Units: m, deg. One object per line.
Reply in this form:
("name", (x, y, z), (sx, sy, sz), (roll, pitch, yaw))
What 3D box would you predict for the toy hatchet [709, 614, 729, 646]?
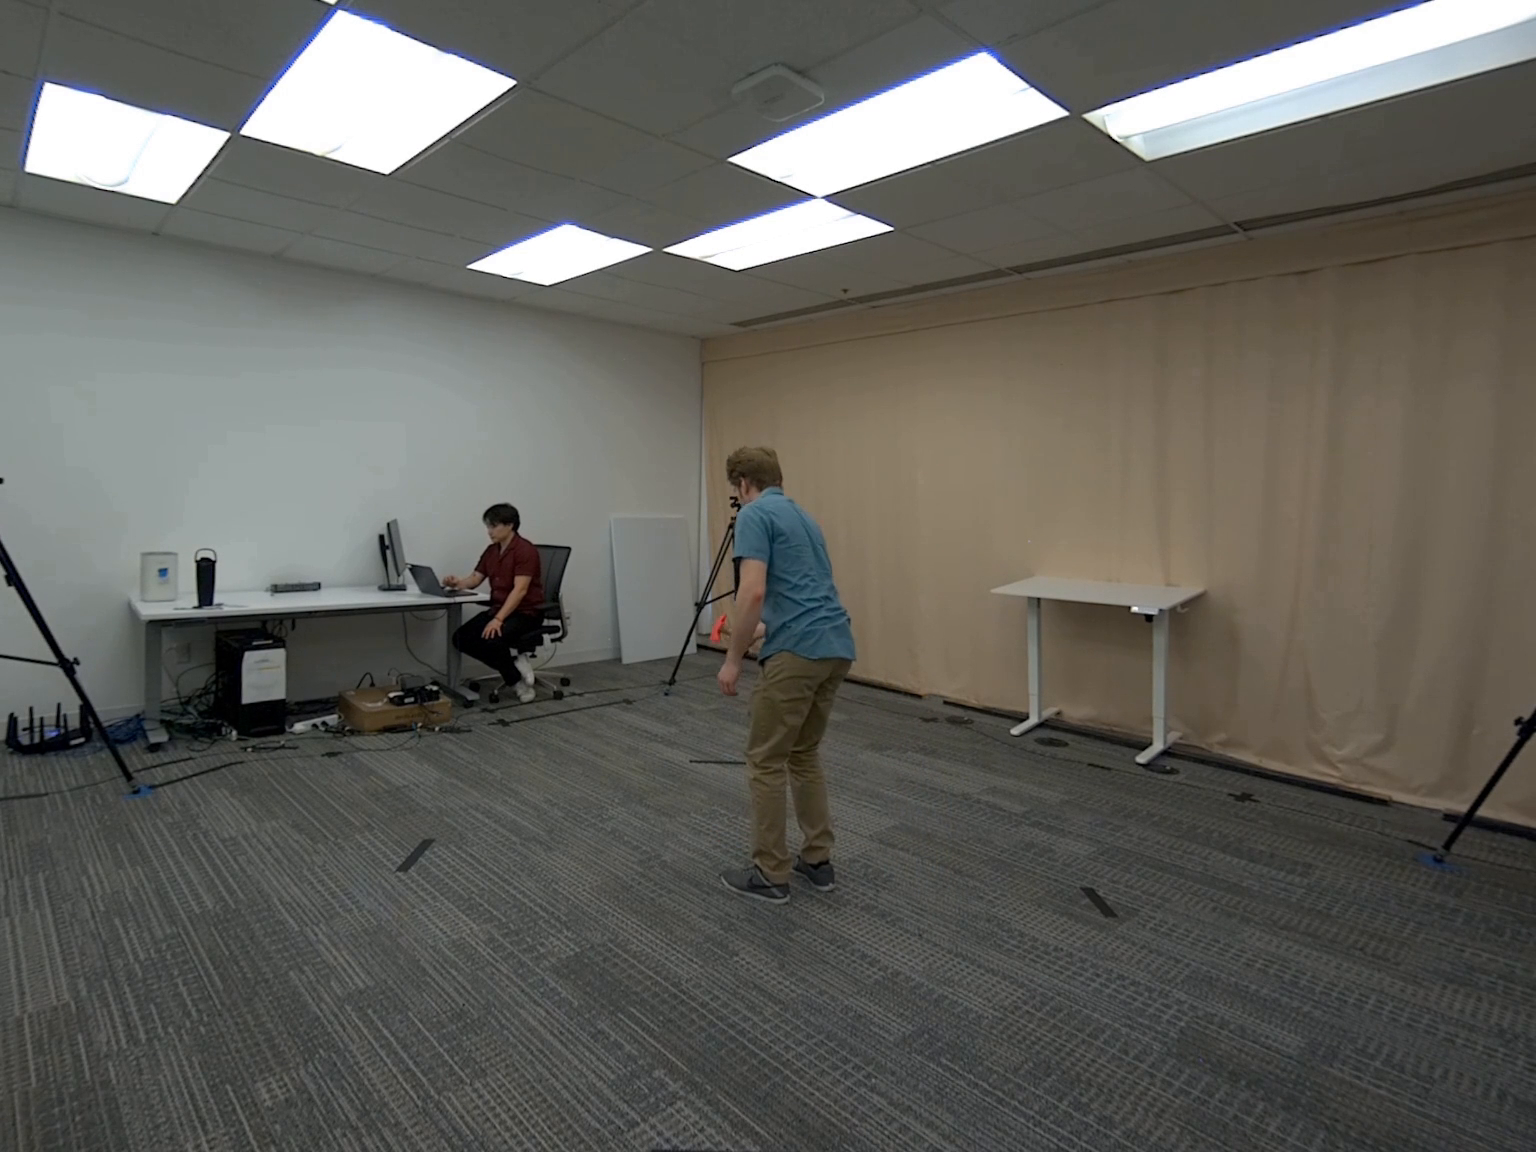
("toy hatchet", (-0.172, 0.286, 3.488), (0.029, 0.131, 0.279), (31, 16, -41))
